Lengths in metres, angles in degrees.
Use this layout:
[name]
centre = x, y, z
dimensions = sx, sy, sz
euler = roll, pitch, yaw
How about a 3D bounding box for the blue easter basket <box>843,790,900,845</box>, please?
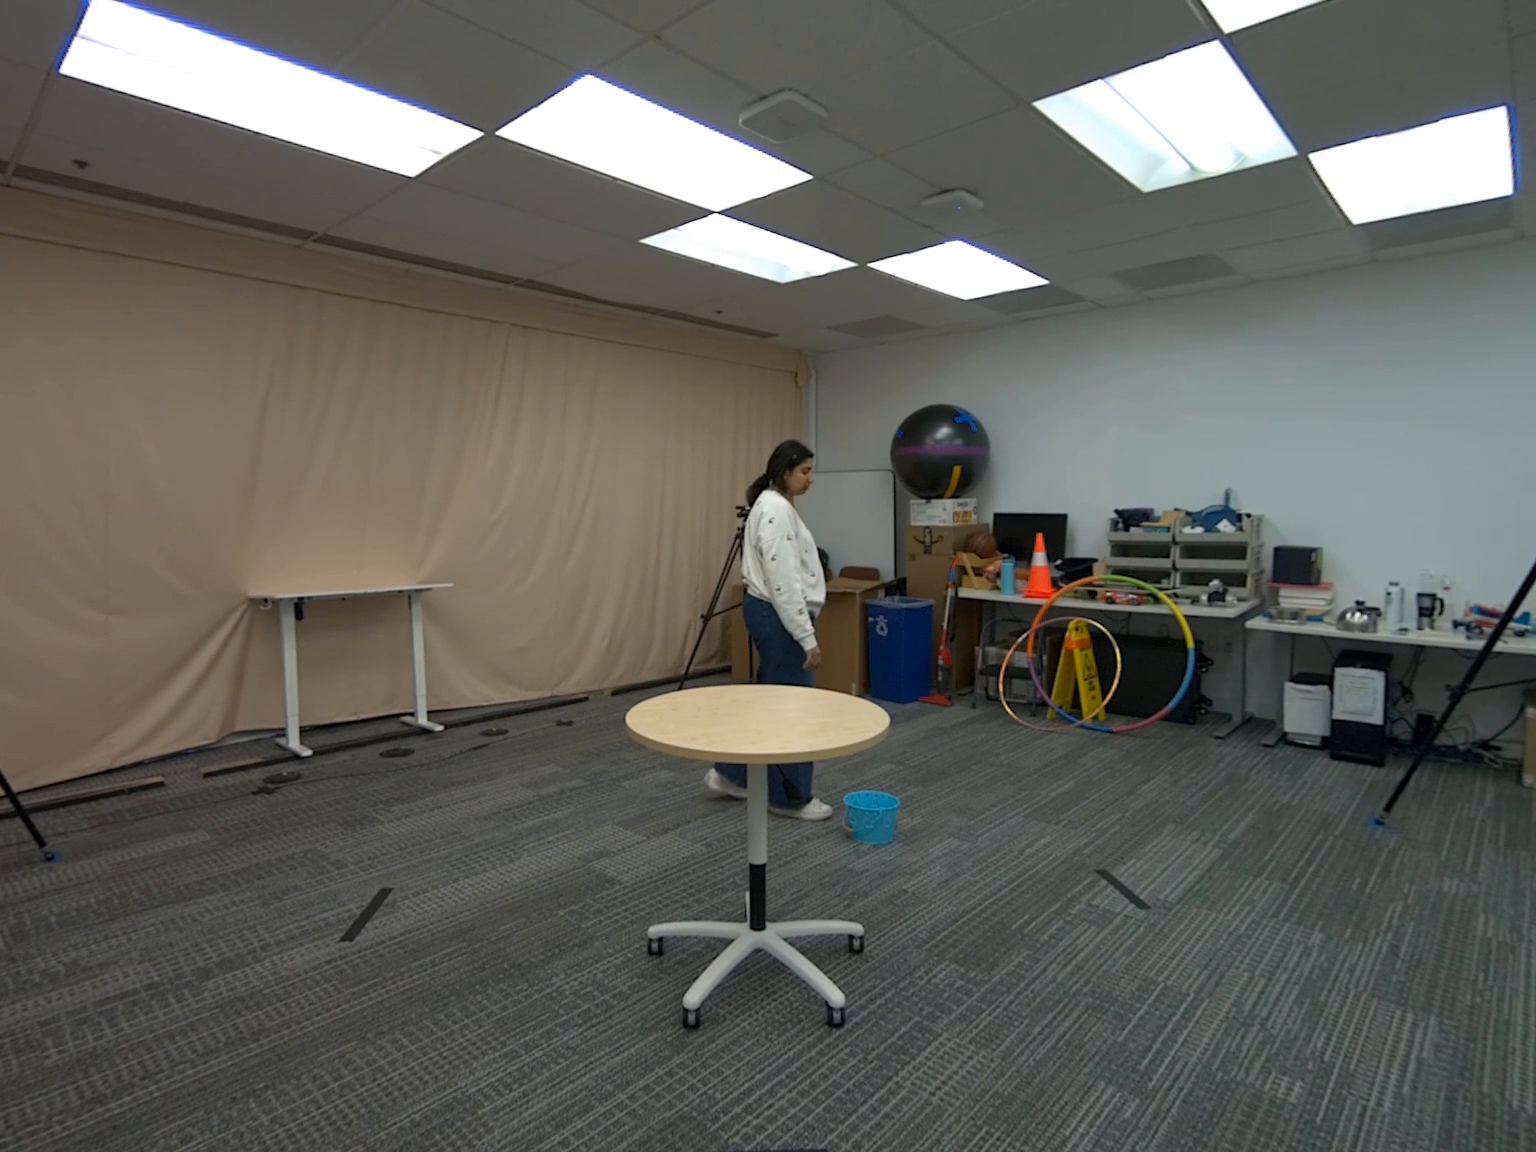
[blue easter basket]
centre = 0.429, 1.013, 3.557
dimensions = 0.243, 0.155, 0.244
euler = 1, 4, -2
